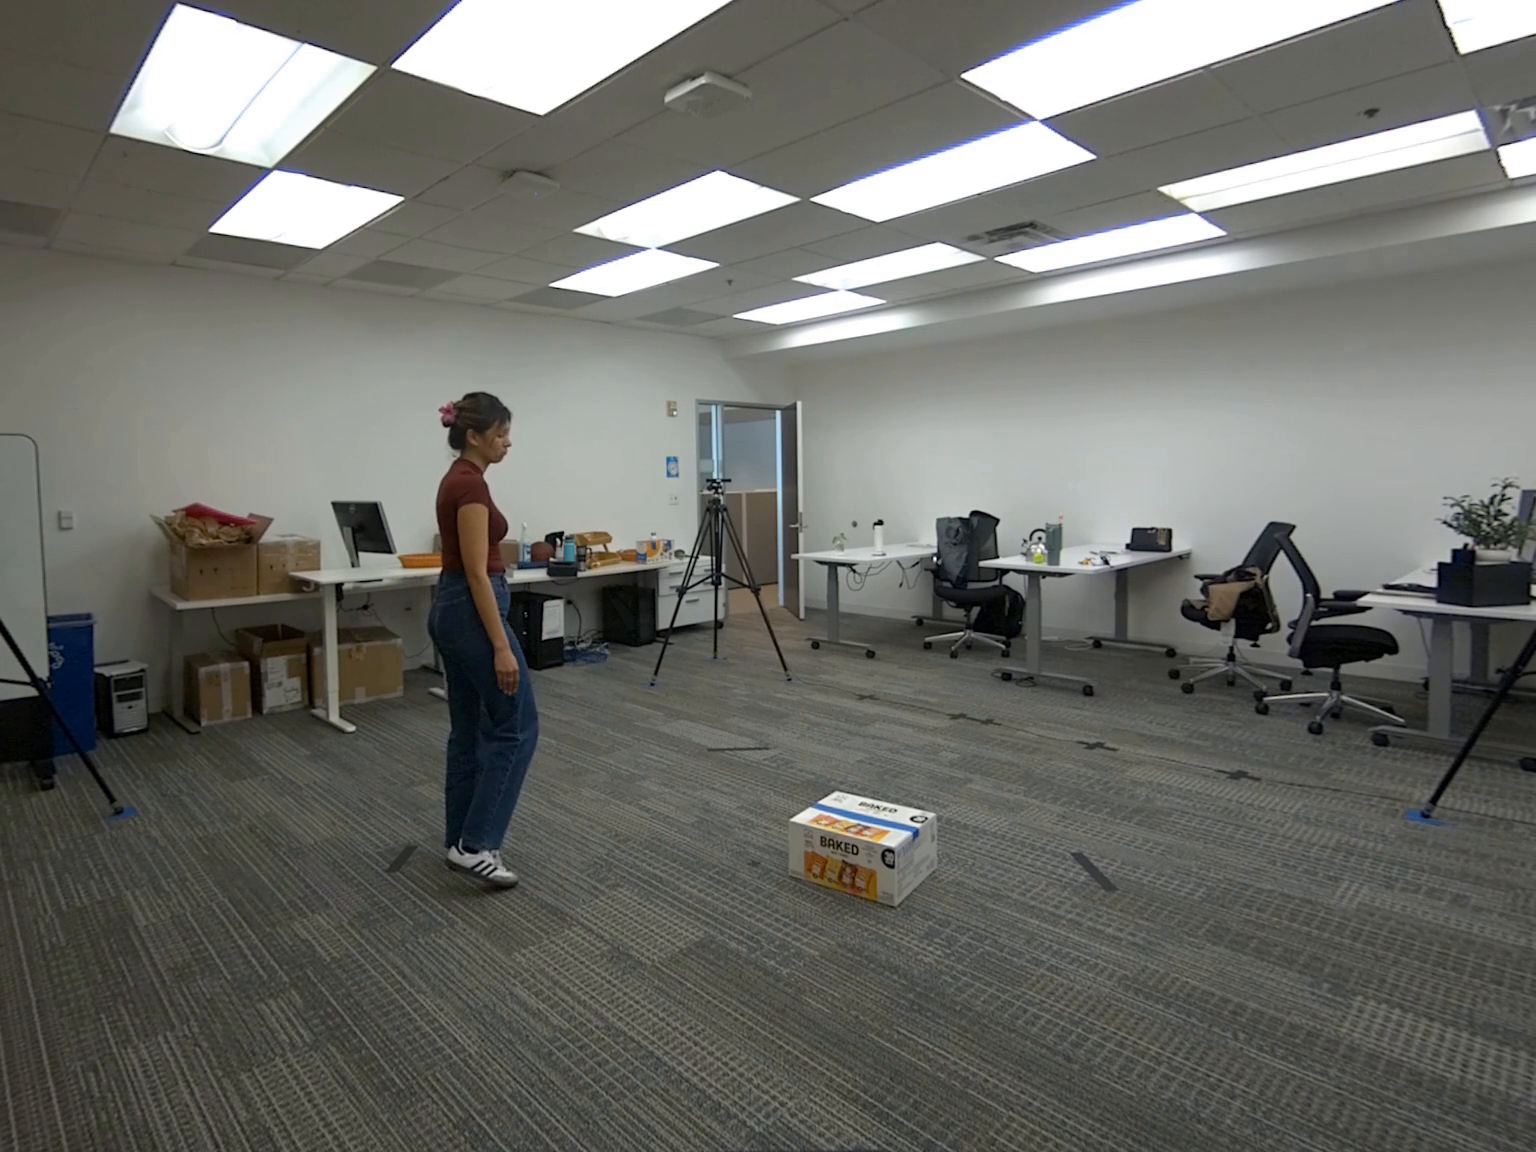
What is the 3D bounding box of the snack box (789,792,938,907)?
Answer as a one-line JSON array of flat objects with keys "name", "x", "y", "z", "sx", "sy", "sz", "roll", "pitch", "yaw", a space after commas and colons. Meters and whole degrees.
[{"name": "snack box", "x": 0.332, "y": 0.942, "z": 3.003, "sx": 0.417, "sy": 0.205, "sz": 0.332, "roll": 3, "pitch": 7, "yaw": 35}]
